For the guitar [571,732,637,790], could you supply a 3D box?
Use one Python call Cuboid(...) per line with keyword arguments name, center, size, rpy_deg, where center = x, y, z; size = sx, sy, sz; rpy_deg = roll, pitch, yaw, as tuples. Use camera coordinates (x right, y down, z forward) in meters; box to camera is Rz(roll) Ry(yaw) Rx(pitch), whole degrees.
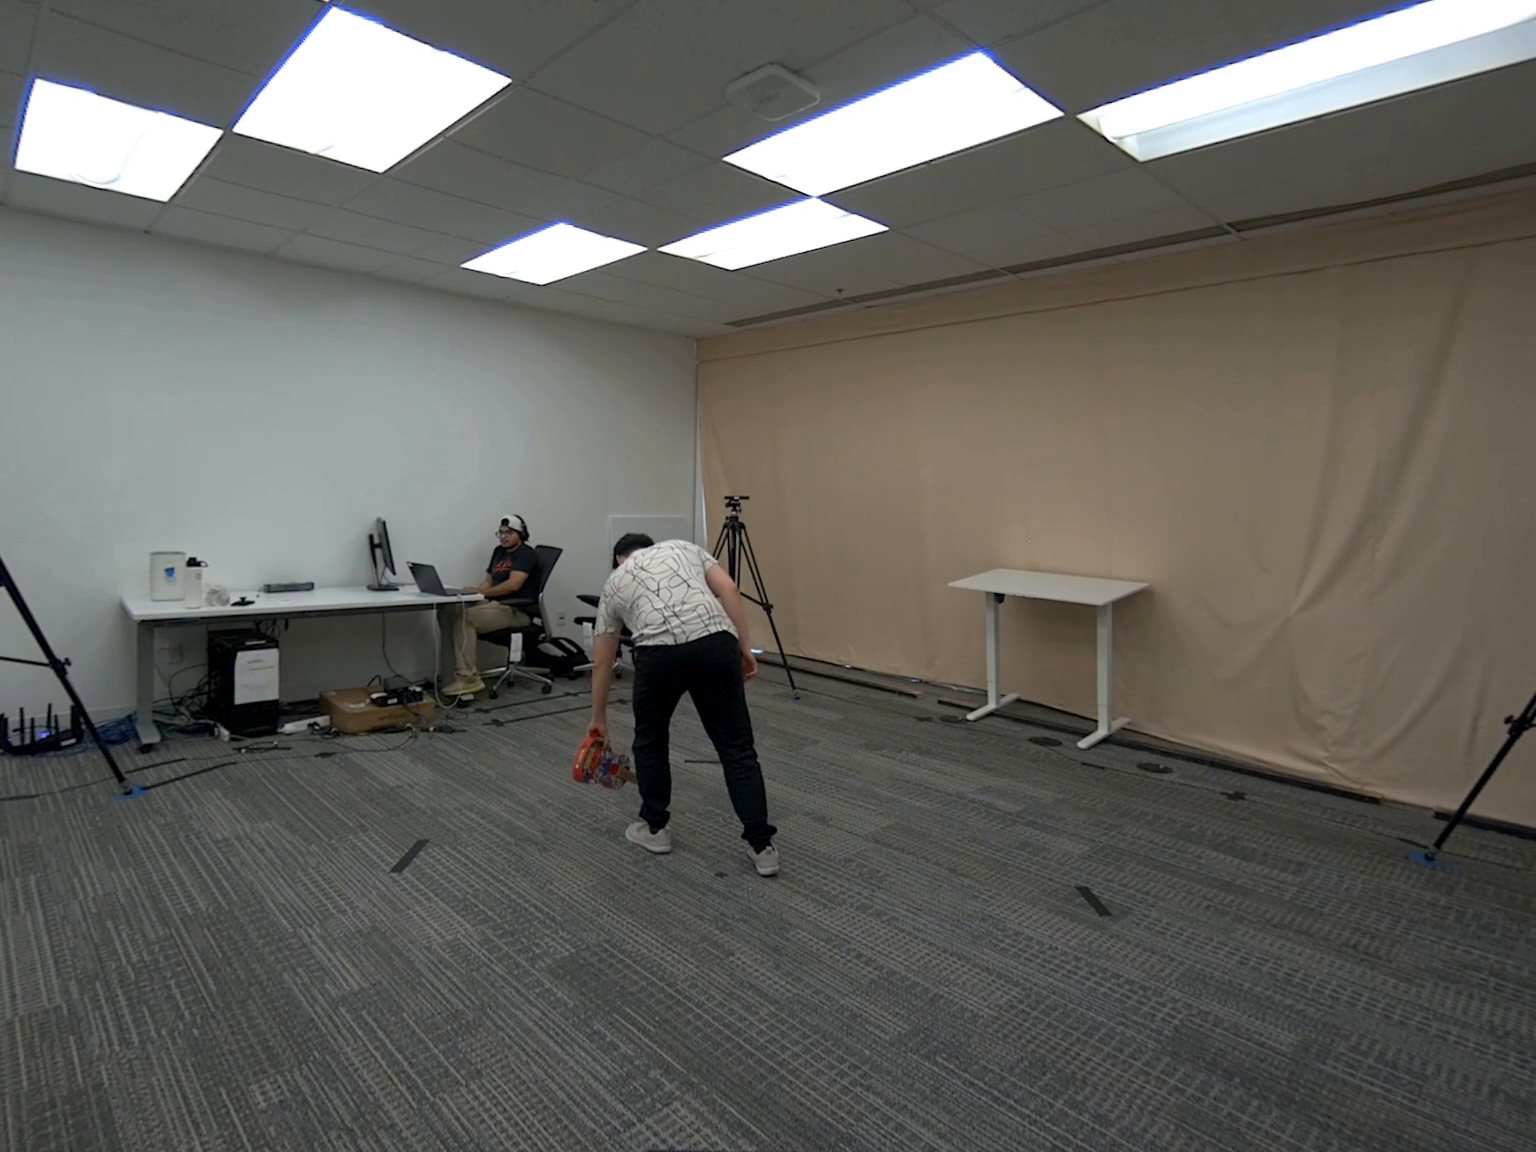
Cuboid(name="guitar", center=(-0.639, 0.867, 3.587), size=(0.072, 0.195, 0.483), rpy_deg=(-4, -40, 39))
